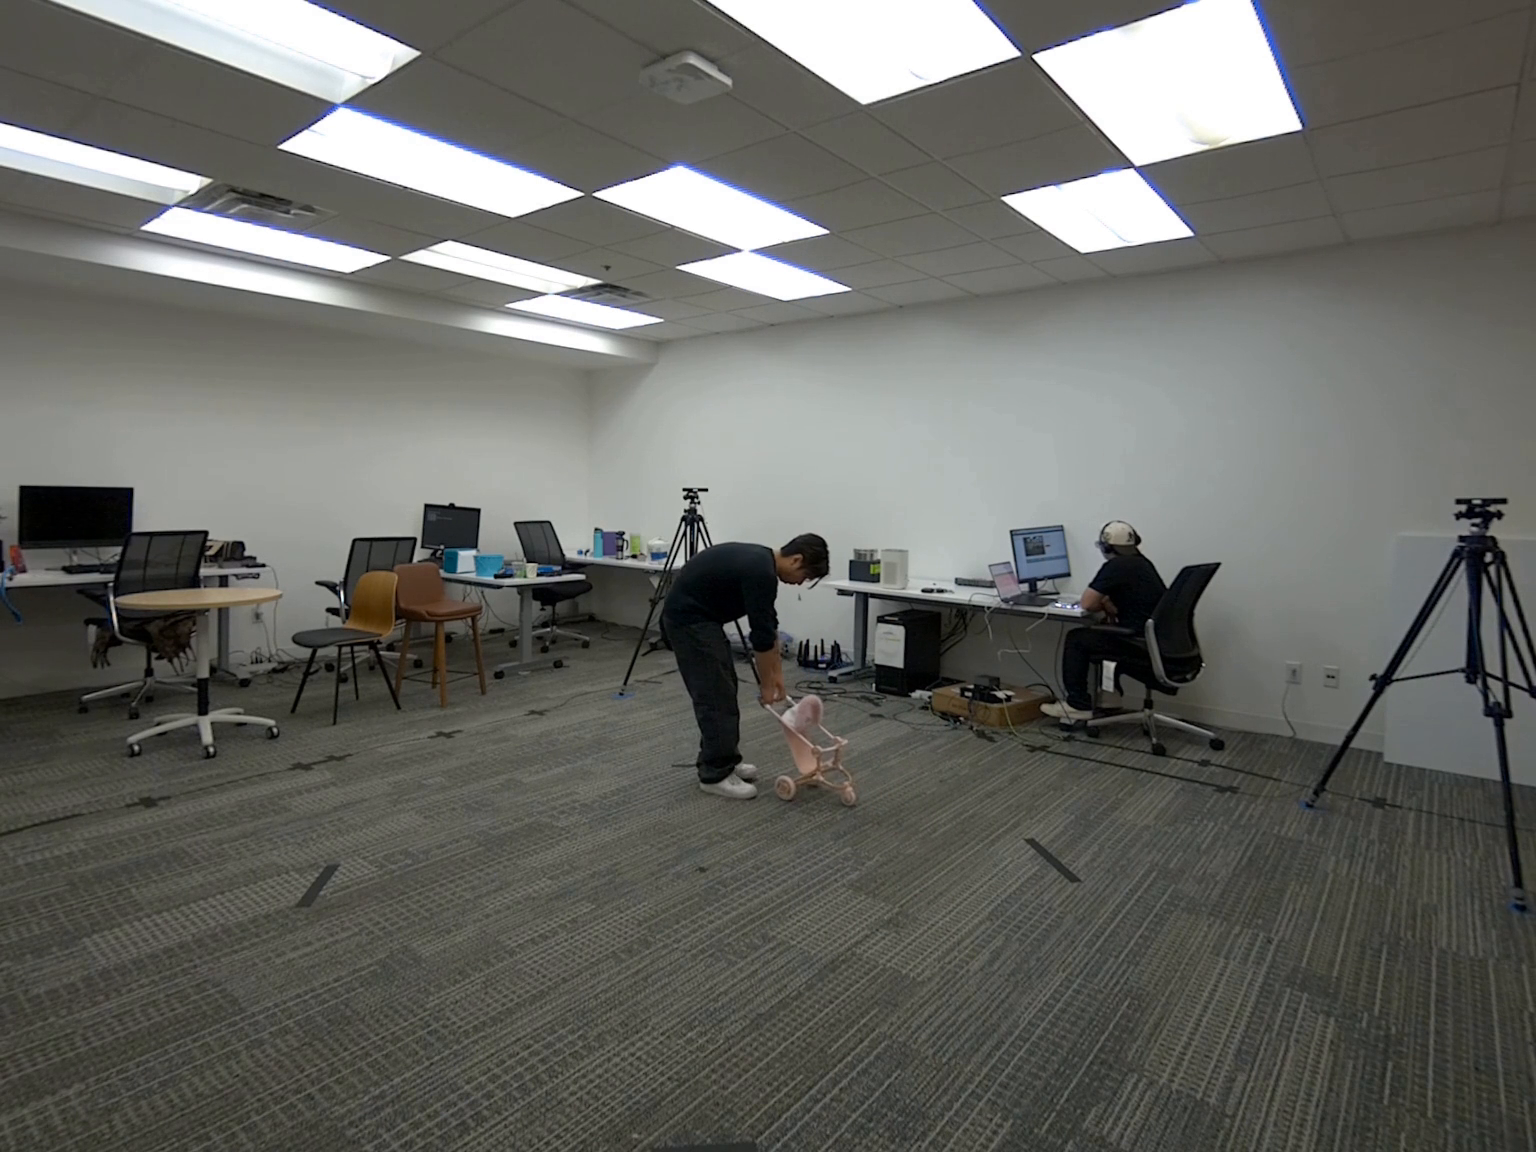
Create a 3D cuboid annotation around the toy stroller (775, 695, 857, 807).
[{"bbox_3d":[0.193,0.780,3.882,0.348,0.540,0.273,-17,-9,39],"label":"toy stroller"}]
